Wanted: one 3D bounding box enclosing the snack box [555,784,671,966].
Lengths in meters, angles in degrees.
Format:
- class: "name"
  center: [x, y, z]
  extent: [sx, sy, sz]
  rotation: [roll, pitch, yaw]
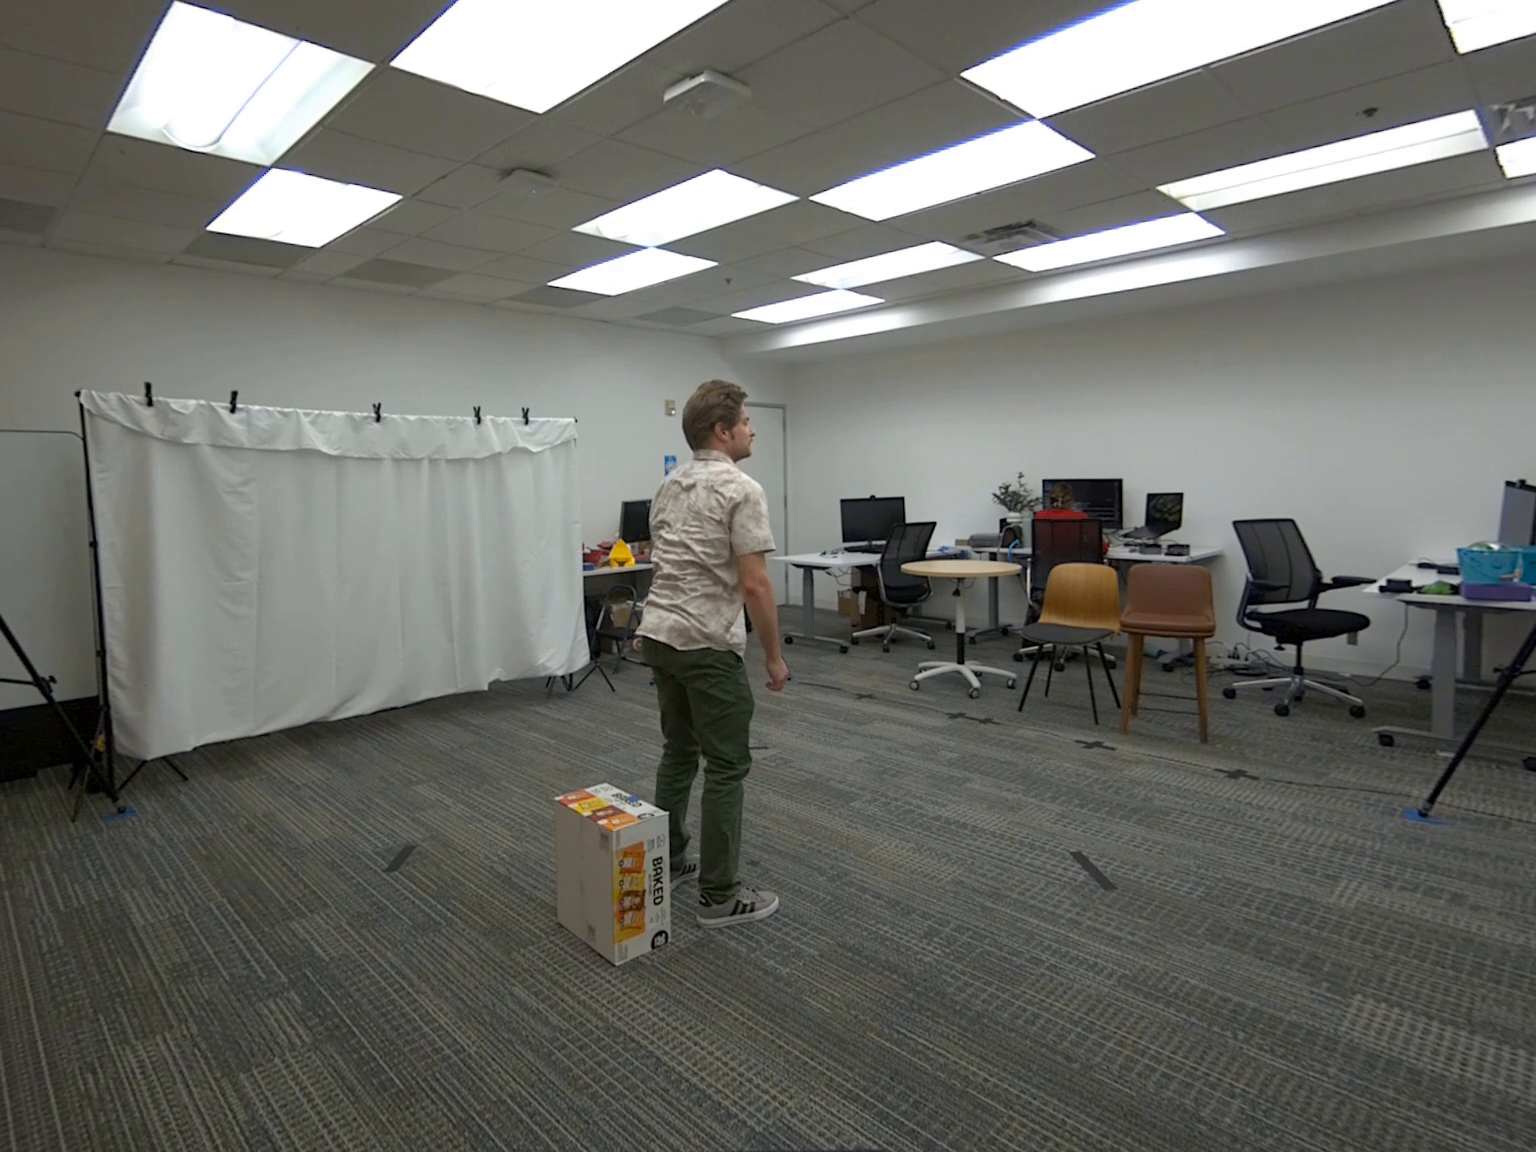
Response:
- class: "snack box"
  center: [-0.483, 0.905, 2.635]
  extent: [0.200, 0.404, 0.351]
  rotation: [-4, 6, -42]
